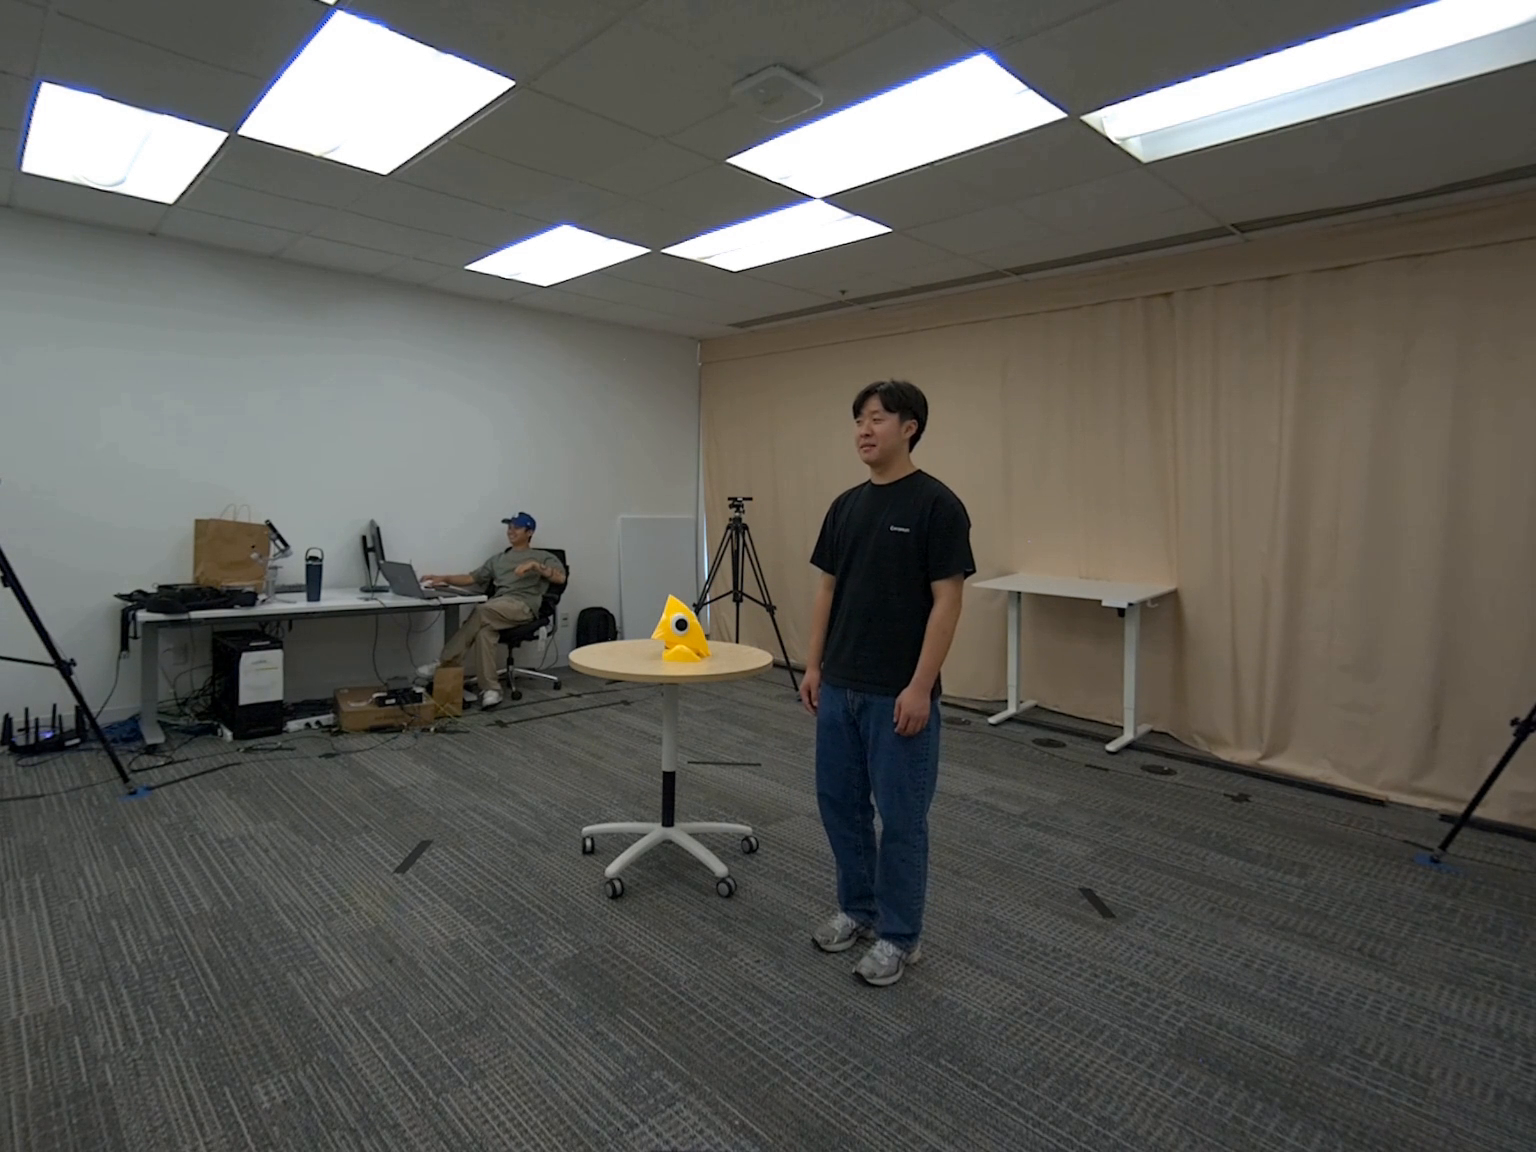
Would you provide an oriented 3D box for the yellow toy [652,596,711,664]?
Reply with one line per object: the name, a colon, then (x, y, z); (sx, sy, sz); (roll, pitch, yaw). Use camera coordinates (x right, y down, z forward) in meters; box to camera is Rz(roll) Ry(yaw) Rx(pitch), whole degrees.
yellow toy: (-0.318, 0.187, 3.147); (0.195, 0.230, 0.203); (2, 4, 15)
